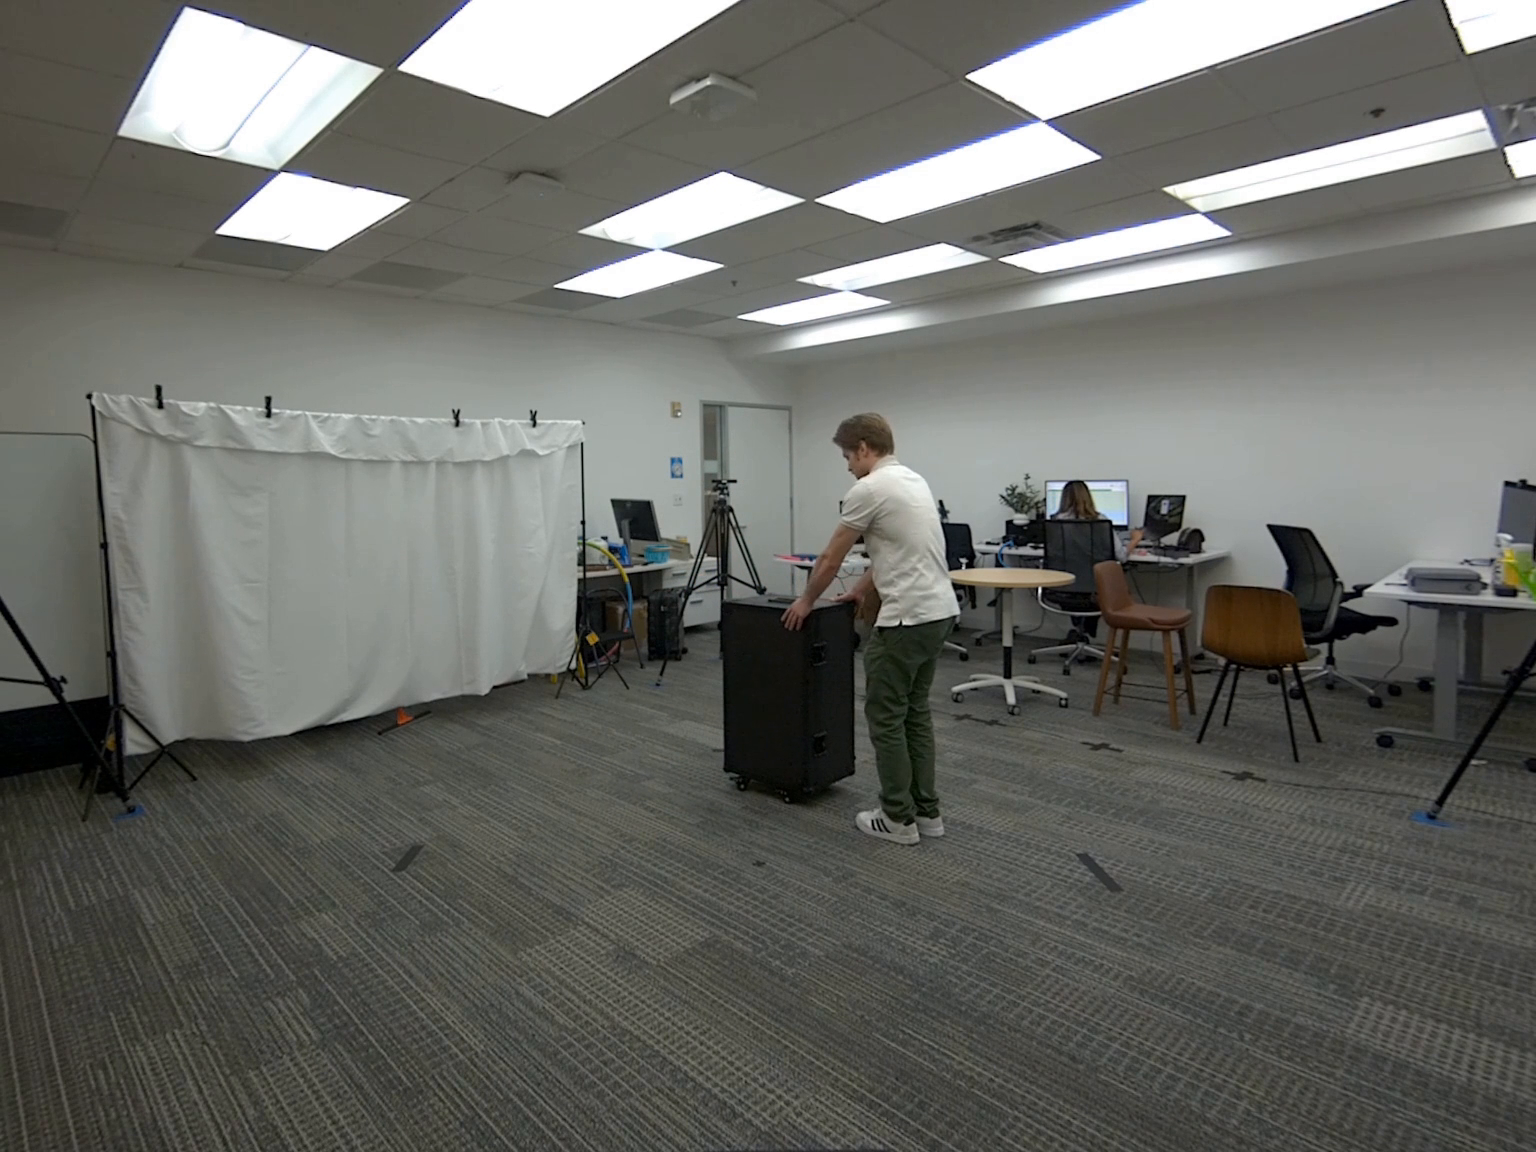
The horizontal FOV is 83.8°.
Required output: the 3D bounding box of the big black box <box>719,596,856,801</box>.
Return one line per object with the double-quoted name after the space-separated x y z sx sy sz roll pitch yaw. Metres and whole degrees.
0.087 0.538 3.862 0.539 0.866 0.375 3 5 40 "big black box"
